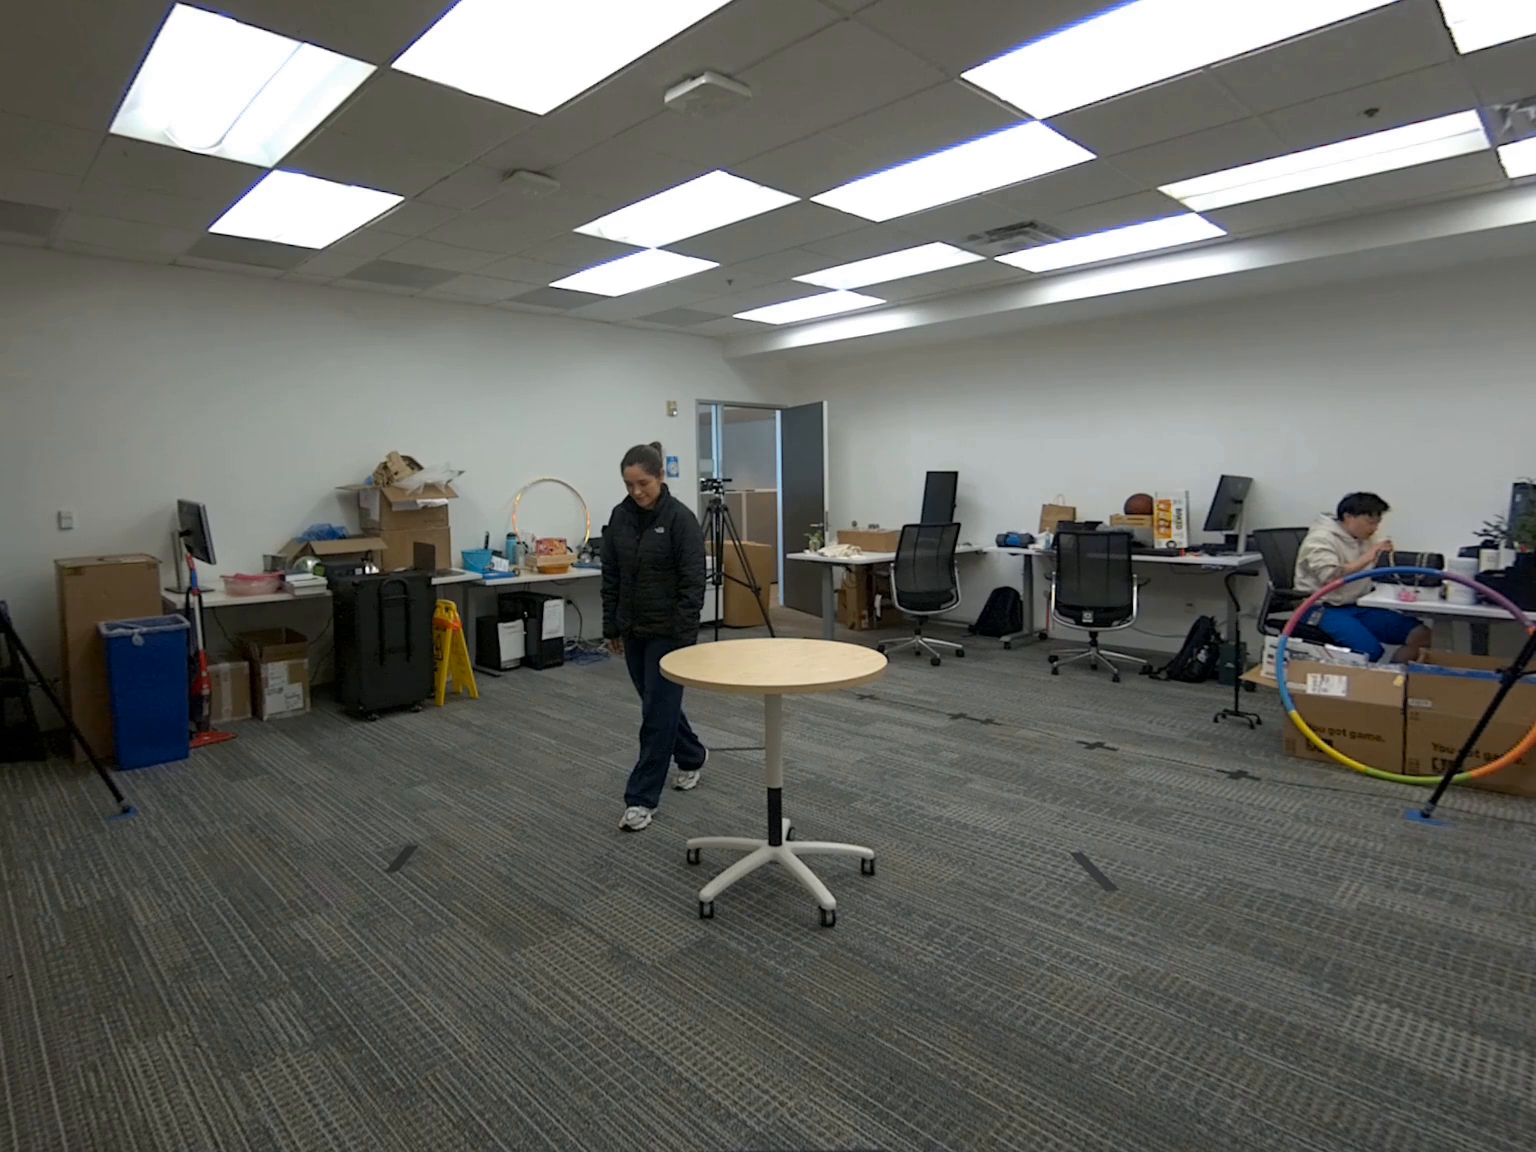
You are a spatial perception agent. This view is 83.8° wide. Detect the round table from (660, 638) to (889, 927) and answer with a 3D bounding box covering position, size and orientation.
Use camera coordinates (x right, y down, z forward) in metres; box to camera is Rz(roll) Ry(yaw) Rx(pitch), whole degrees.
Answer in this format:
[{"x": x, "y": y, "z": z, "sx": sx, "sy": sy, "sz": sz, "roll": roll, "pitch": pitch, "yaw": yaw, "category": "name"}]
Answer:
[{"x": 0.010, "y": 0.669, "z": 2.936, "sx": 0.784, "sy": 0.784, "sz": 0.789, "roll": -1, "pitch": 5, "yaw": -2, "category": "round table"}]
